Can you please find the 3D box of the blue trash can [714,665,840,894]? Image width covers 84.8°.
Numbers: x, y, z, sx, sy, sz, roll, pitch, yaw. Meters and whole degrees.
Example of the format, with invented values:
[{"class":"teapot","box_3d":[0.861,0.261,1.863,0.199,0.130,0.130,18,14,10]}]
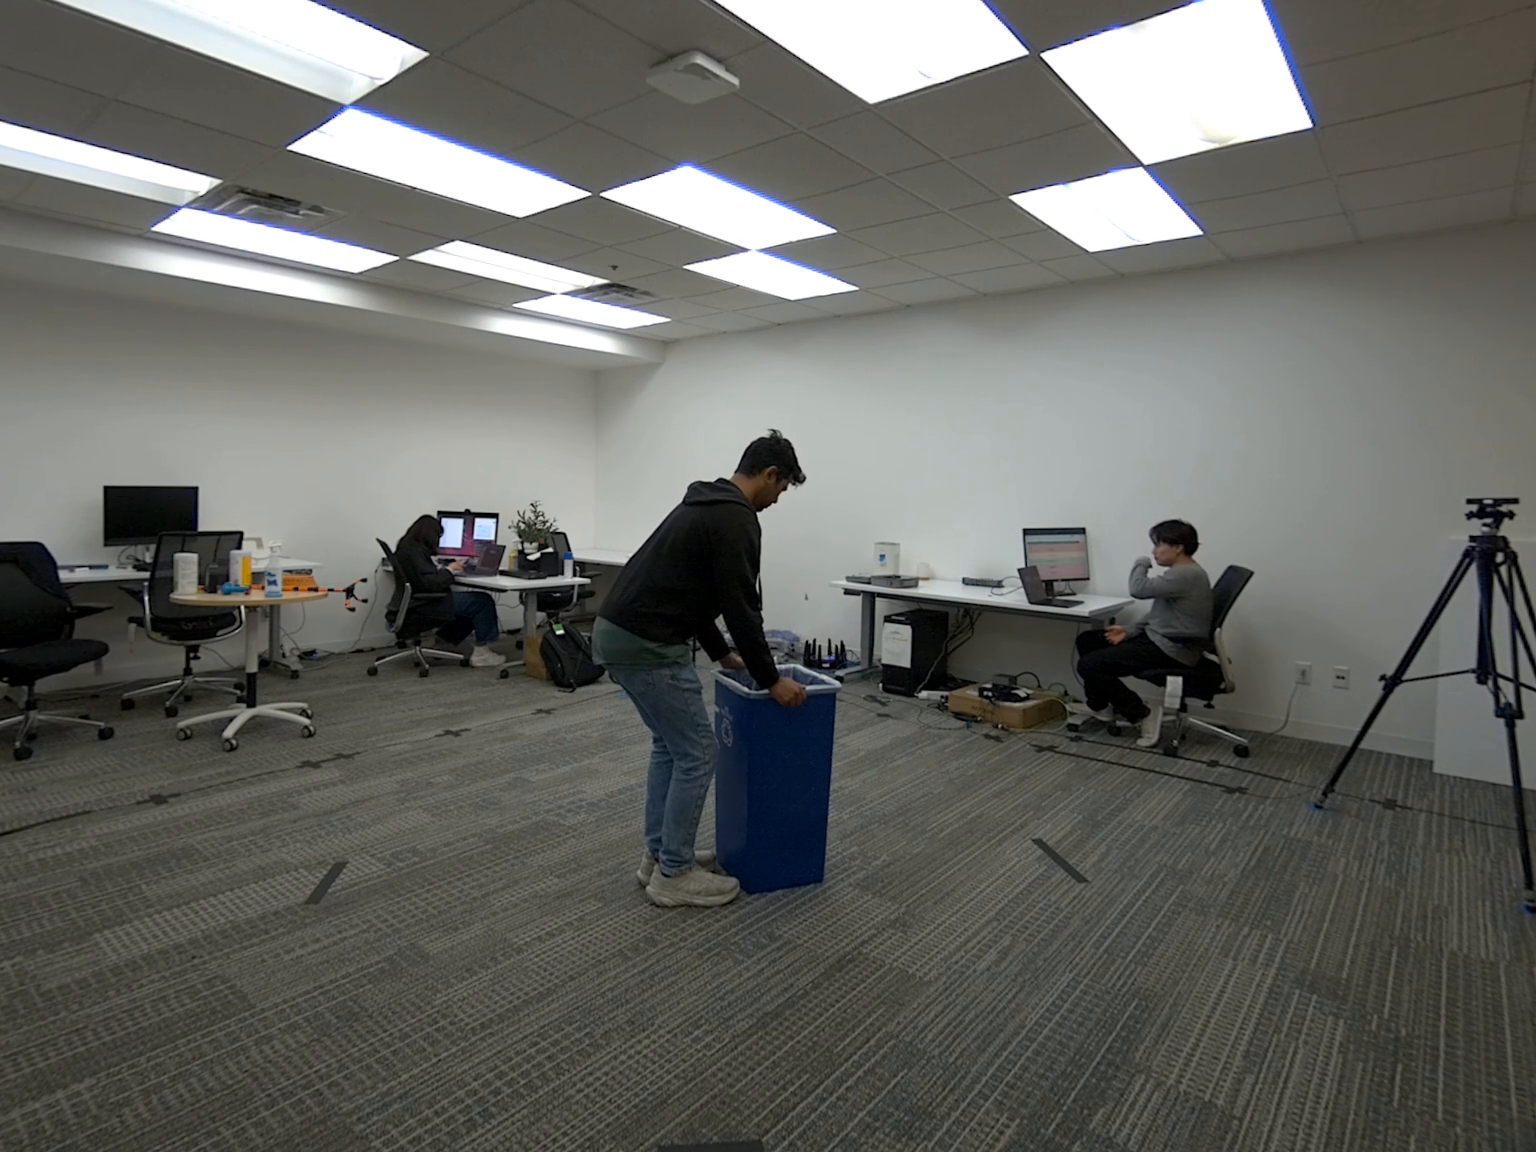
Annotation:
[{"class":"blue trash can","box_3d":[0.011,0.704,3.077,0.369,0.712,0.384,0,3,-25]}]
